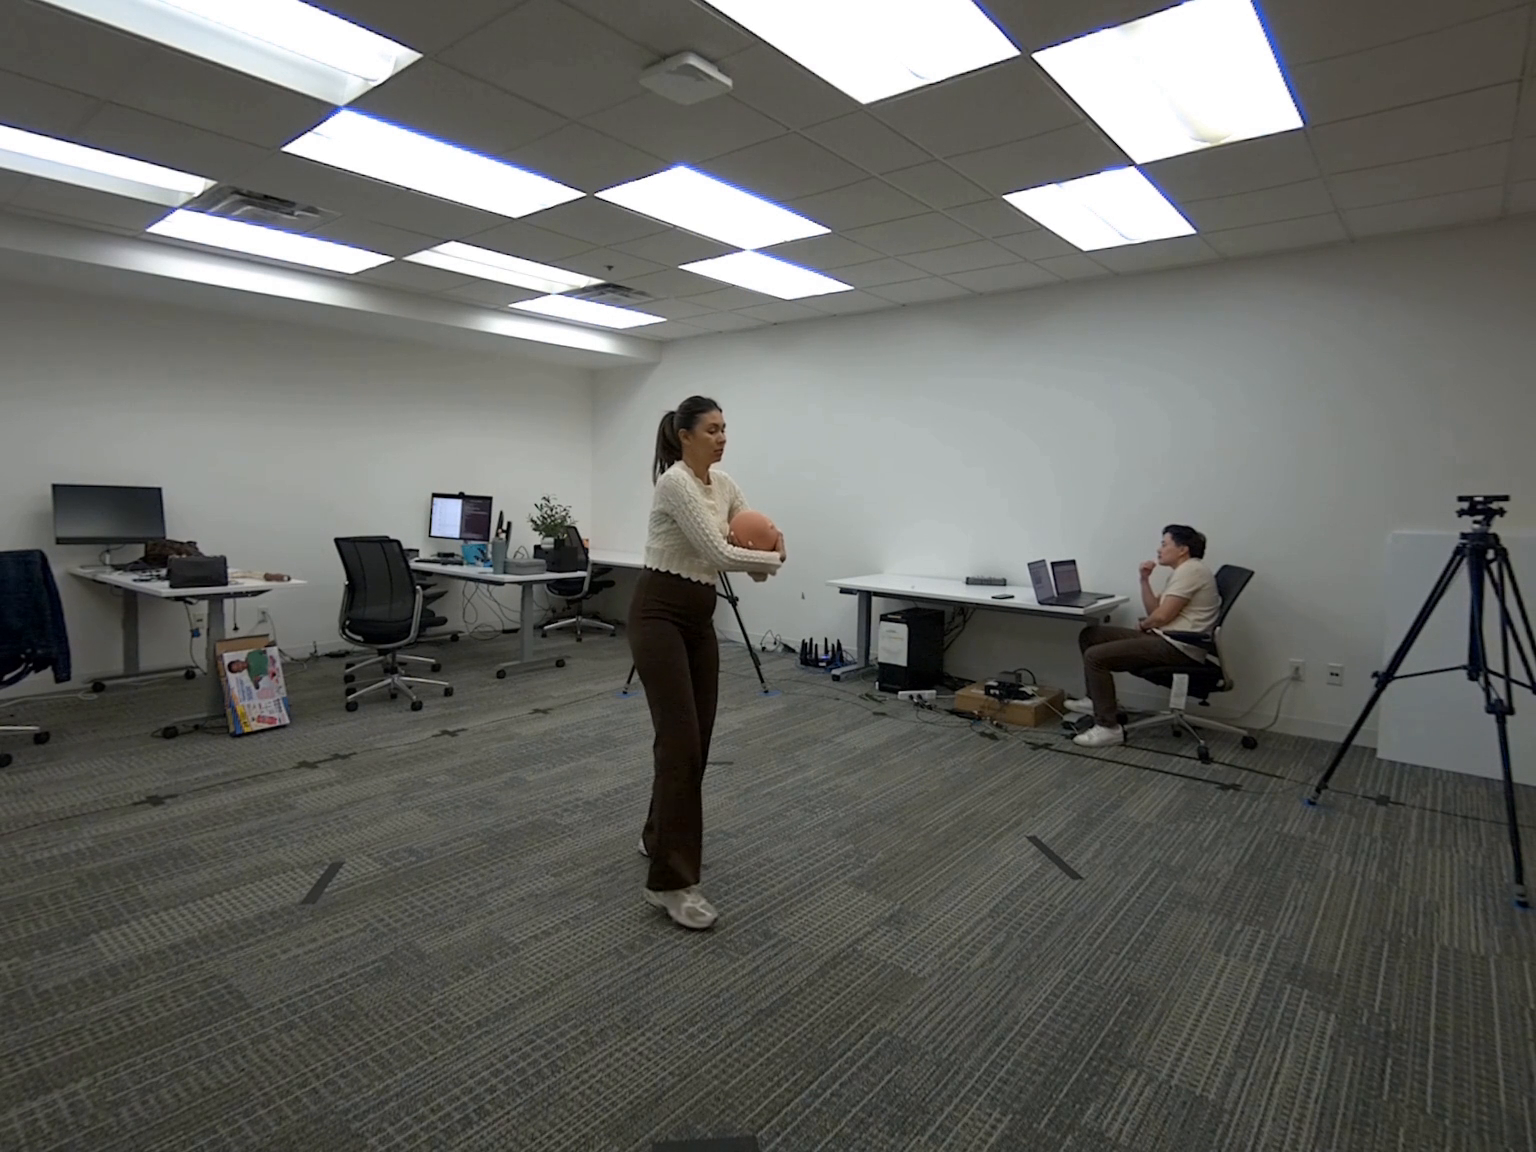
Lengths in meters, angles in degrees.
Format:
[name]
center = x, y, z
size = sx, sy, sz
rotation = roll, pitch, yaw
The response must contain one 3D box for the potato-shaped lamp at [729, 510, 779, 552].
[potato-shaped lamp]
center = -0.066, -0.151, 2.999
size = 0.169, 0.172, 0.191
rotation = 20, -24, 21
